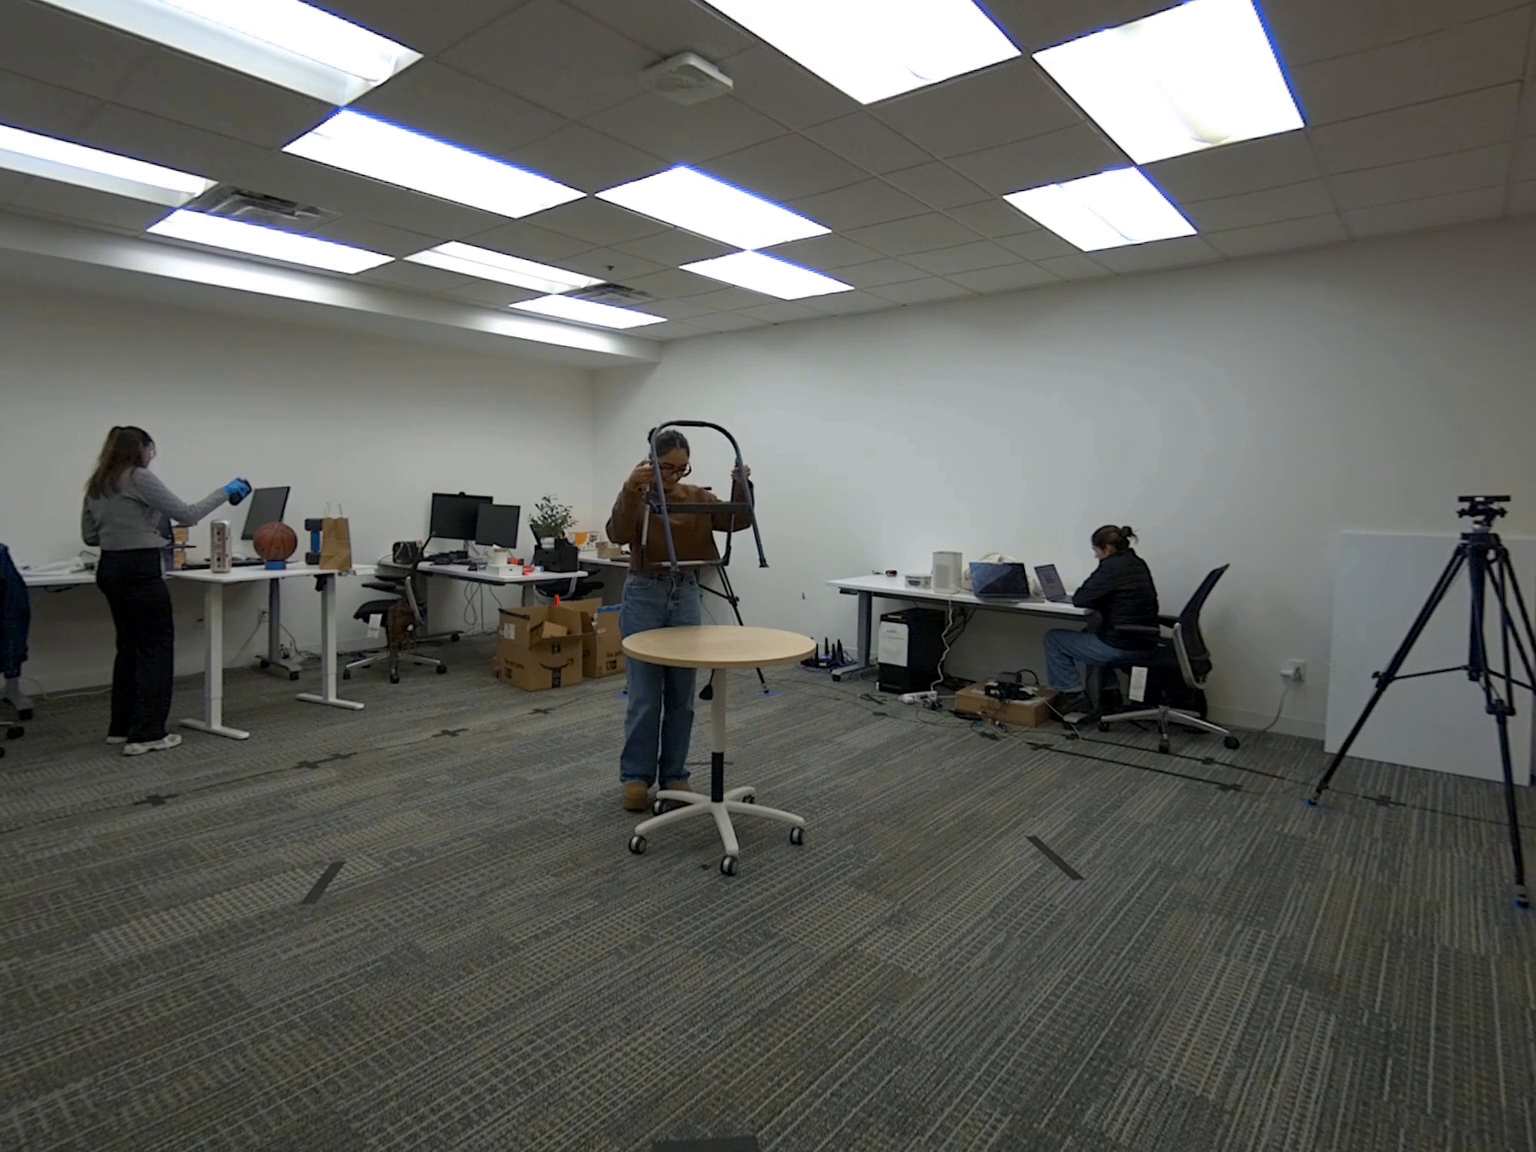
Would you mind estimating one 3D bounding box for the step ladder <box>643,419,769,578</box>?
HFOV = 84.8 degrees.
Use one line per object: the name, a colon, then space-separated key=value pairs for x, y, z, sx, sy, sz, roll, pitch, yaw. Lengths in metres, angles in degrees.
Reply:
step ladder: x=-0.285 y=-0.340 z=3.449 sx=0.419 sy=0.606 sz=0.359 roll=-1 pitch=1 yaw=-30
